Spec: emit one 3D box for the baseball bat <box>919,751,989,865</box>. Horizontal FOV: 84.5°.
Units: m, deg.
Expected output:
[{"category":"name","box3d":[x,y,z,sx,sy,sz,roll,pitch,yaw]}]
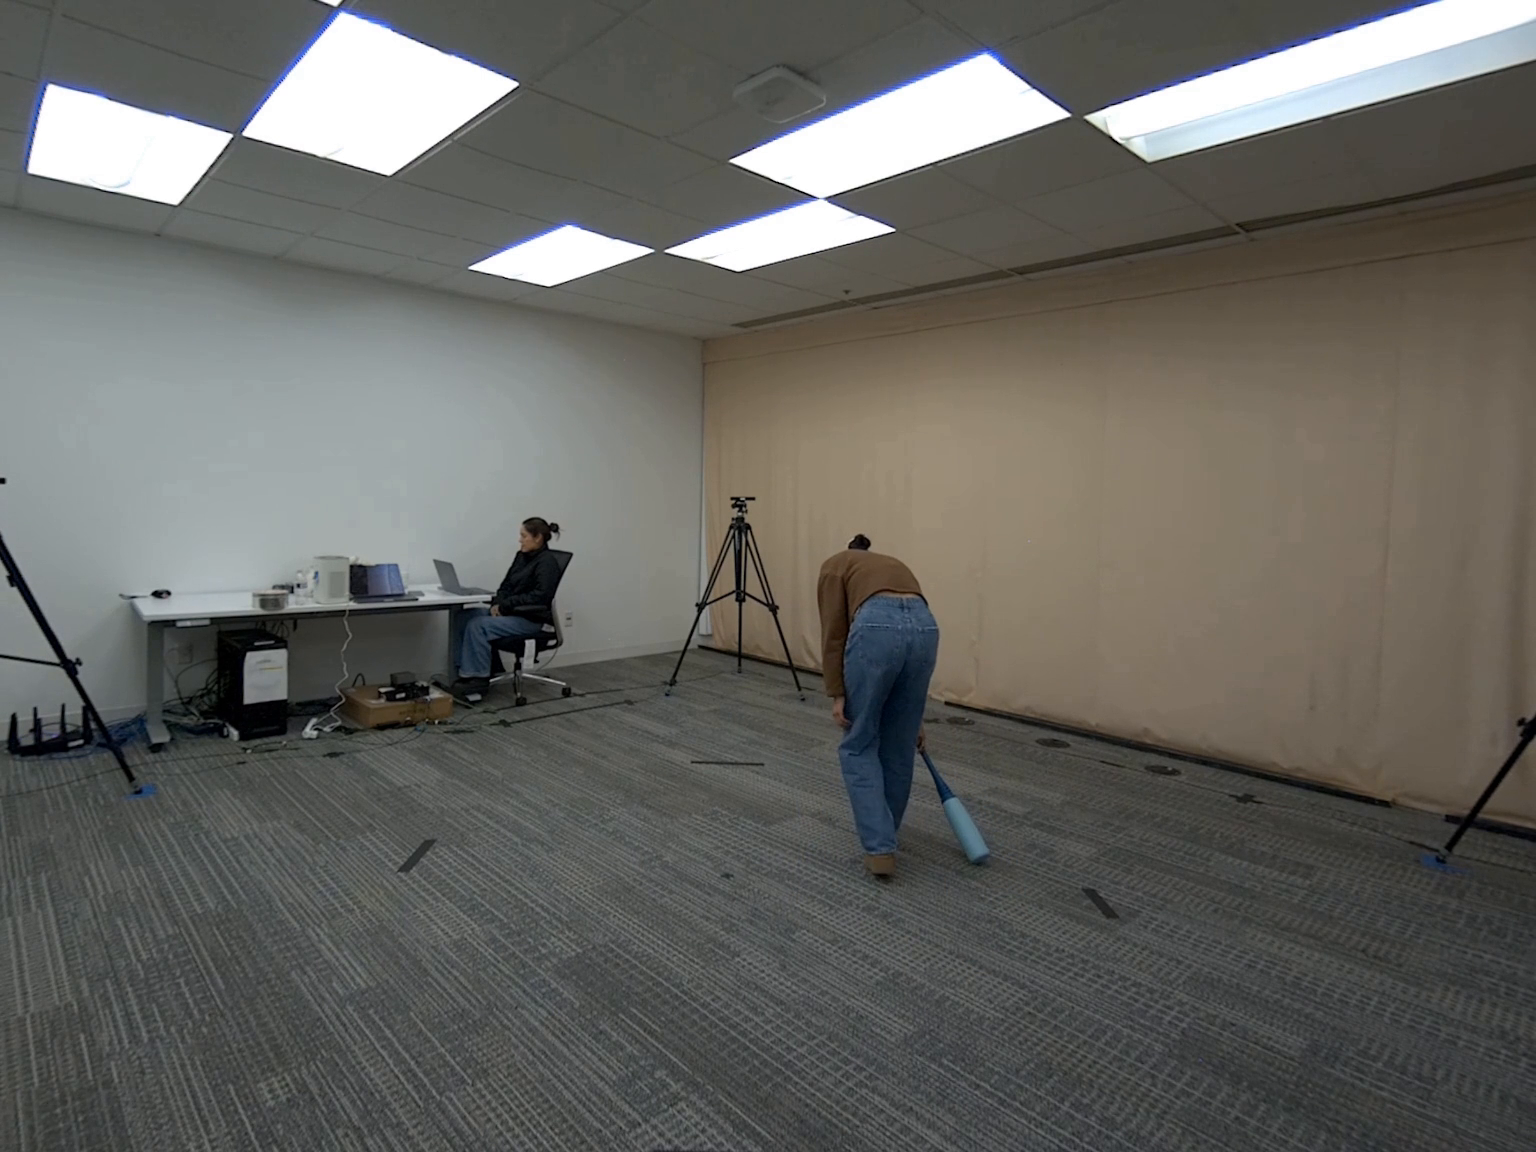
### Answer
[{"category":"baseball bat","box3d":[0.717,0.900,3.418,0.087,0.088,0.559,-1,46,-30]}]
